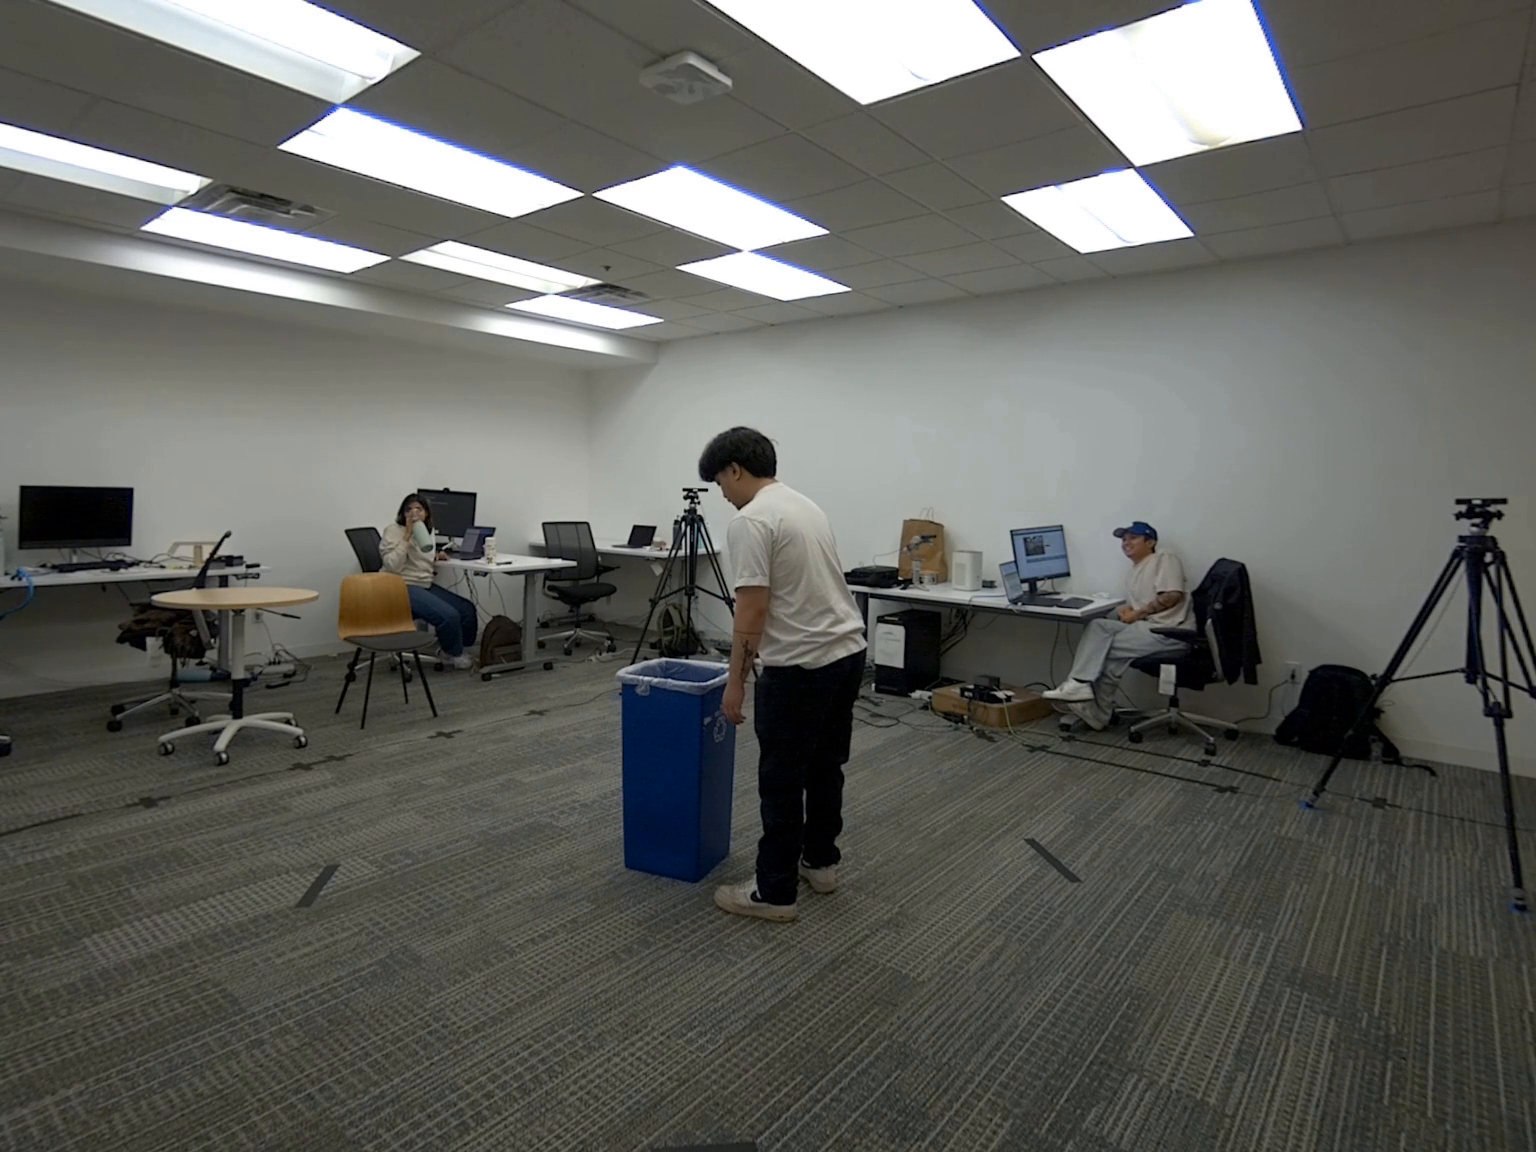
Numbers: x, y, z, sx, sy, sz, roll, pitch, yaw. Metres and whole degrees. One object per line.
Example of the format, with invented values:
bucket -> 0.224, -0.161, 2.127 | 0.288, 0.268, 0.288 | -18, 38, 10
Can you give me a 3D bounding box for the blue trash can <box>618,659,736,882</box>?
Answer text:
blue trash can -> -0.340, 0.700, 3.181 | 0.387, 0.711, 0.366 | 3, 4, 23
